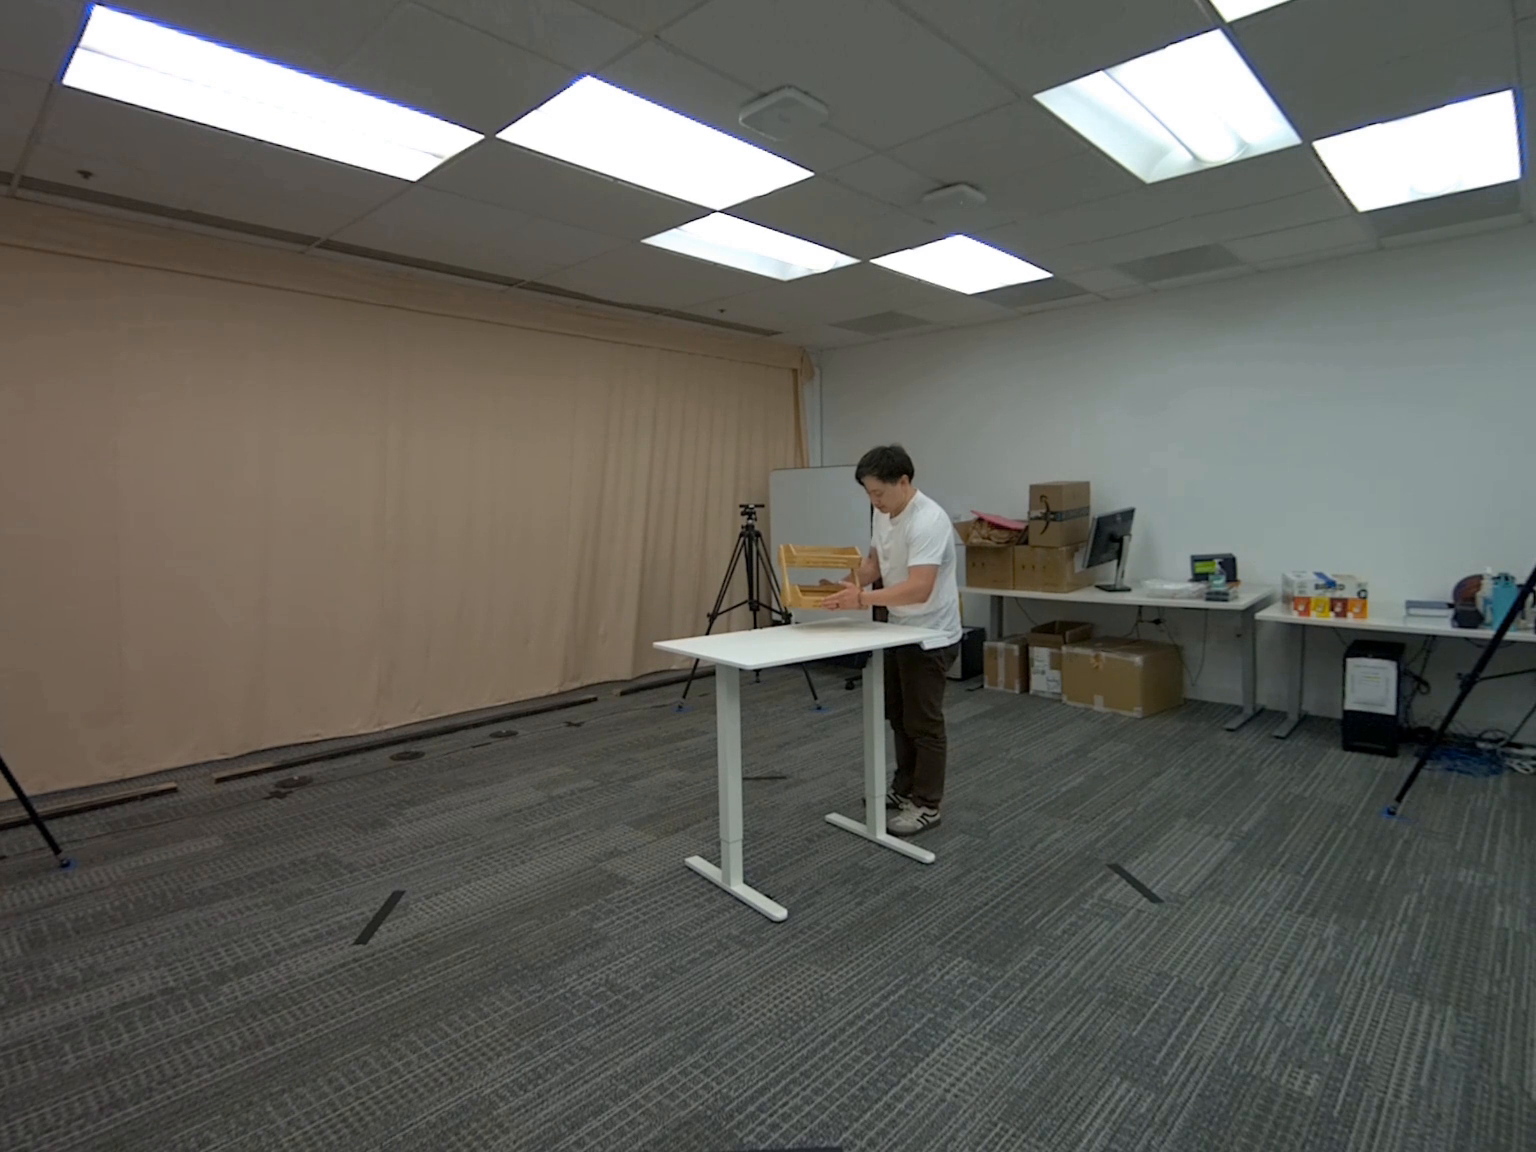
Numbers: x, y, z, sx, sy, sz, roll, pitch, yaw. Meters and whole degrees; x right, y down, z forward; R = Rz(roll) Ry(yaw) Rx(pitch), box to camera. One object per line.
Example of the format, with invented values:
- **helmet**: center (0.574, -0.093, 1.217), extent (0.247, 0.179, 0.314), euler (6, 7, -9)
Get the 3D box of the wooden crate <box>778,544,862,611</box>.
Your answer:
- **wooden crate**: center (0.239, 0.003, 3.519), extent (0.318, 0.273, 0.308), euler (2, 1, -18)
